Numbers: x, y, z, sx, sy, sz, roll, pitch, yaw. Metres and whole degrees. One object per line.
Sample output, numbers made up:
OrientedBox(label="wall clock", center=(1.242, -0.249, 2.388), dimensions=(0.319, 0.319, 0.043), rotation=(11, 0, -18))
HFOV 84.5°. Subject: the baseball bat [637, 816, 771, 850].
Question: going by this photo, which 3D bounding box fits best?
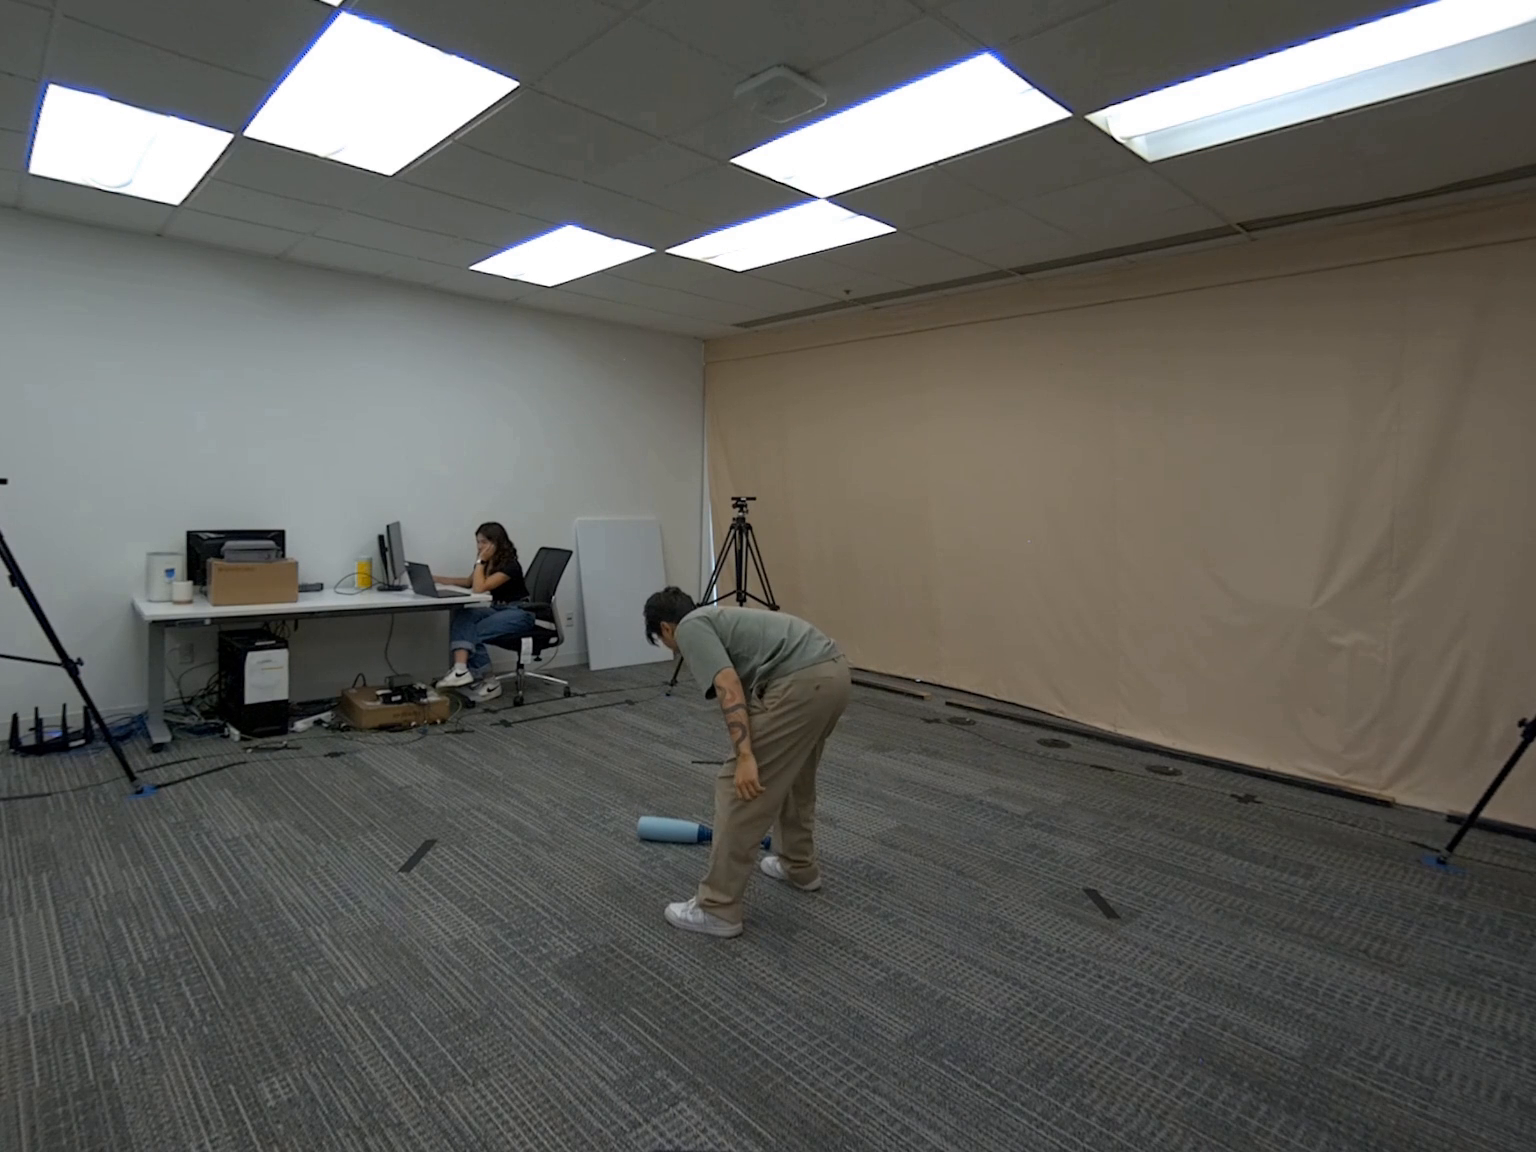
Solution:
OrientedBox(label="baseball bat", center=(-0.263, 1.041, 3.392), dimensions=(0.546, 0.089, 0.089), rotation=(4, 4, 7))
